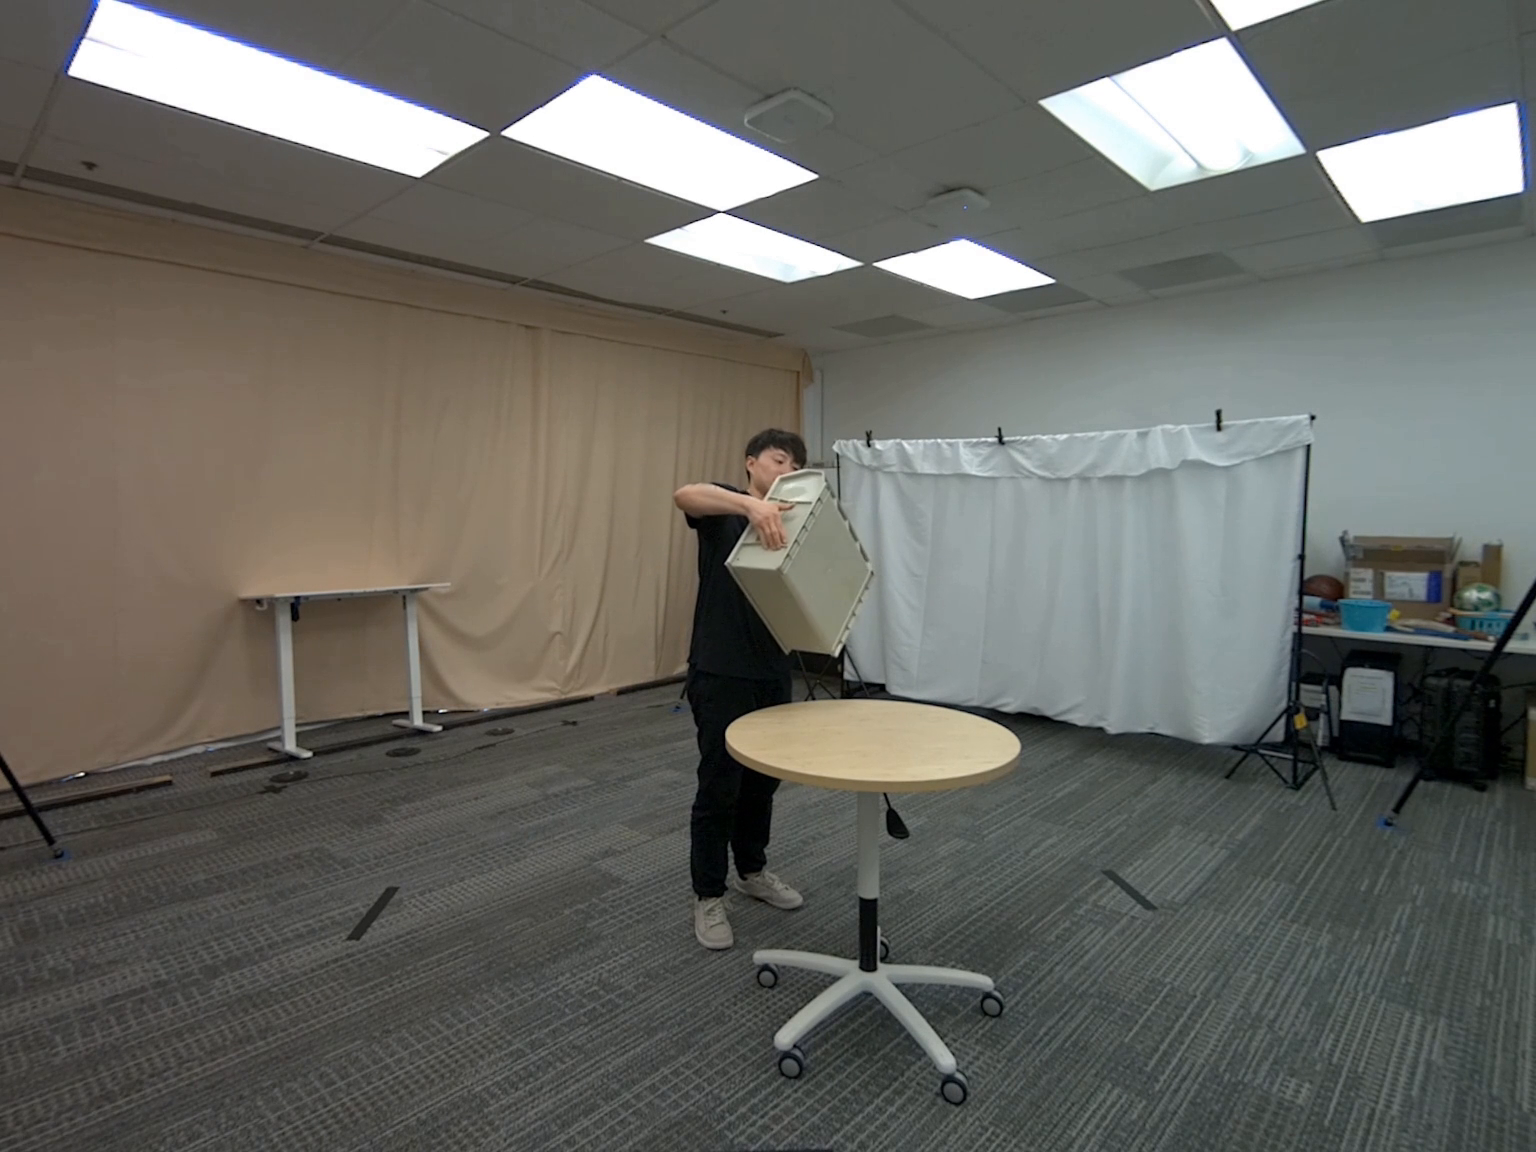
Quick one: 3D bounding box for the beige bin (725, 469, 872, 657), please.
[{"bbox_3d":[0.123,-0.029,2.478,0.195,0.377,0.409,4,-39,37],"label":"beige bin"}]
